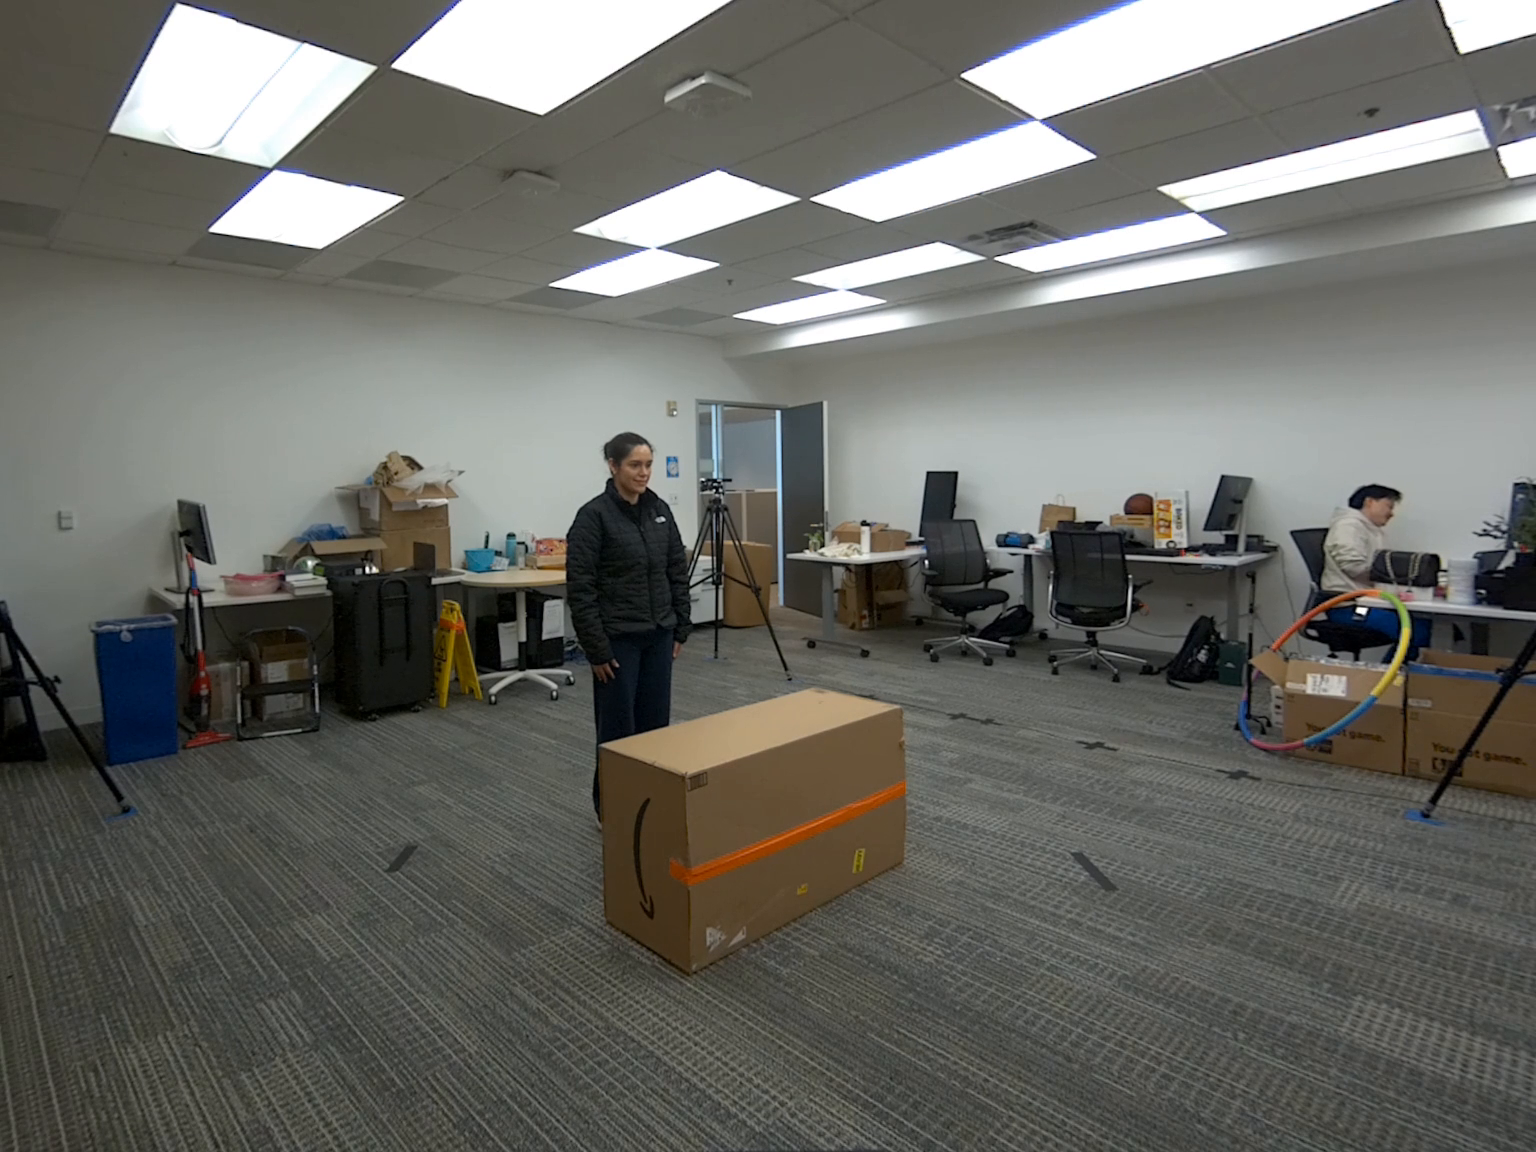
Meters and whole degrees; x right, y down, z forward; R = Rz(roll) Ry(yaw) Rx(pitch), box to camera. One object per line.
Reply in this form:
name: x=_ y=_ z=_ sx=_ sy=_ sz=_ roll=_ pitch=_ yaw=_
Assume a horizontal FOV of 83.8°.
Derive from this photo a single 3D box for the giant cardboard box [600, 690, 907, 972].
giant cardboard box: x=-0.013 y=0.783 z=2.894 sx=1.000 sy=0.582 sz=0.460 roll=-7 pitch=6 yaw=-43
